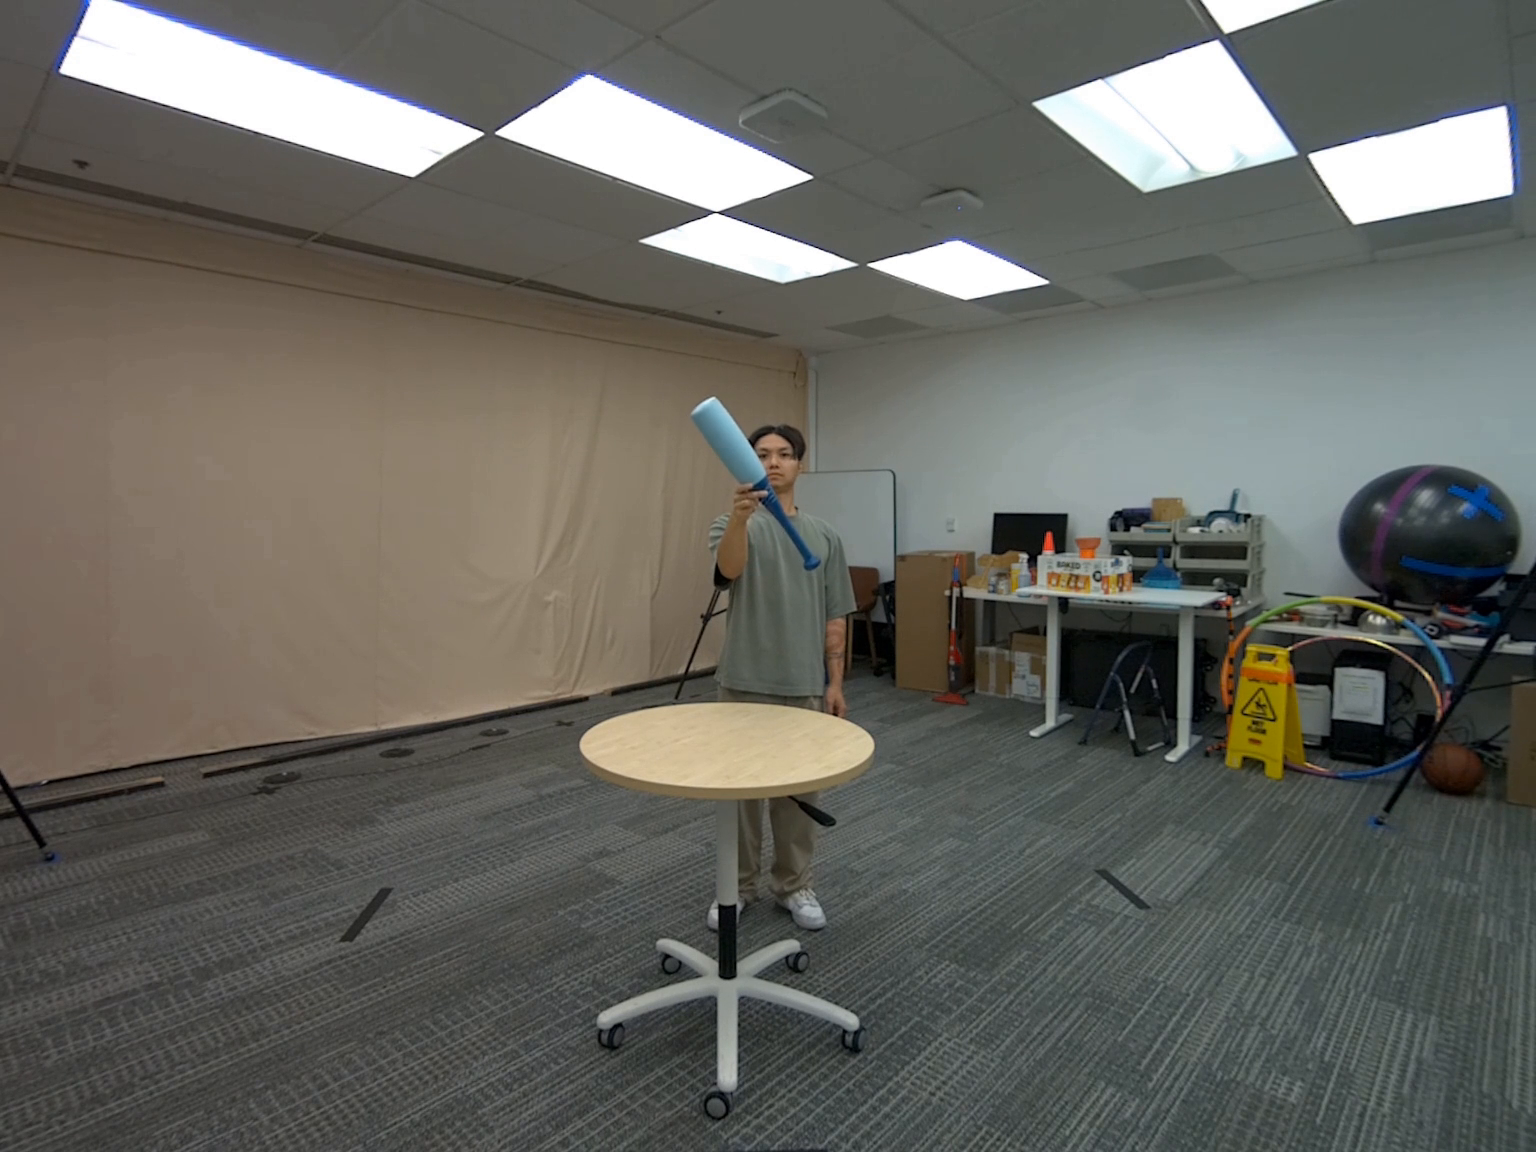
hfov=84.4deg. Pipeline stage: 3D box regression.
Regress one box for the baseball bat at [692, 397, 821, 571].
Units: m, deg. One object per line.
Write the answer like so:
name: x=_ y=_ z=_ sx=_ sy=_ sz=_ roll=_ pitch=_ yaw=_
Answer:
baseball bat: x=-0.022 y=-0.236 z=2.243 sx=0.089 sy=0.535 sz=0.090 roll=-33 pitch=13 yaw=7
